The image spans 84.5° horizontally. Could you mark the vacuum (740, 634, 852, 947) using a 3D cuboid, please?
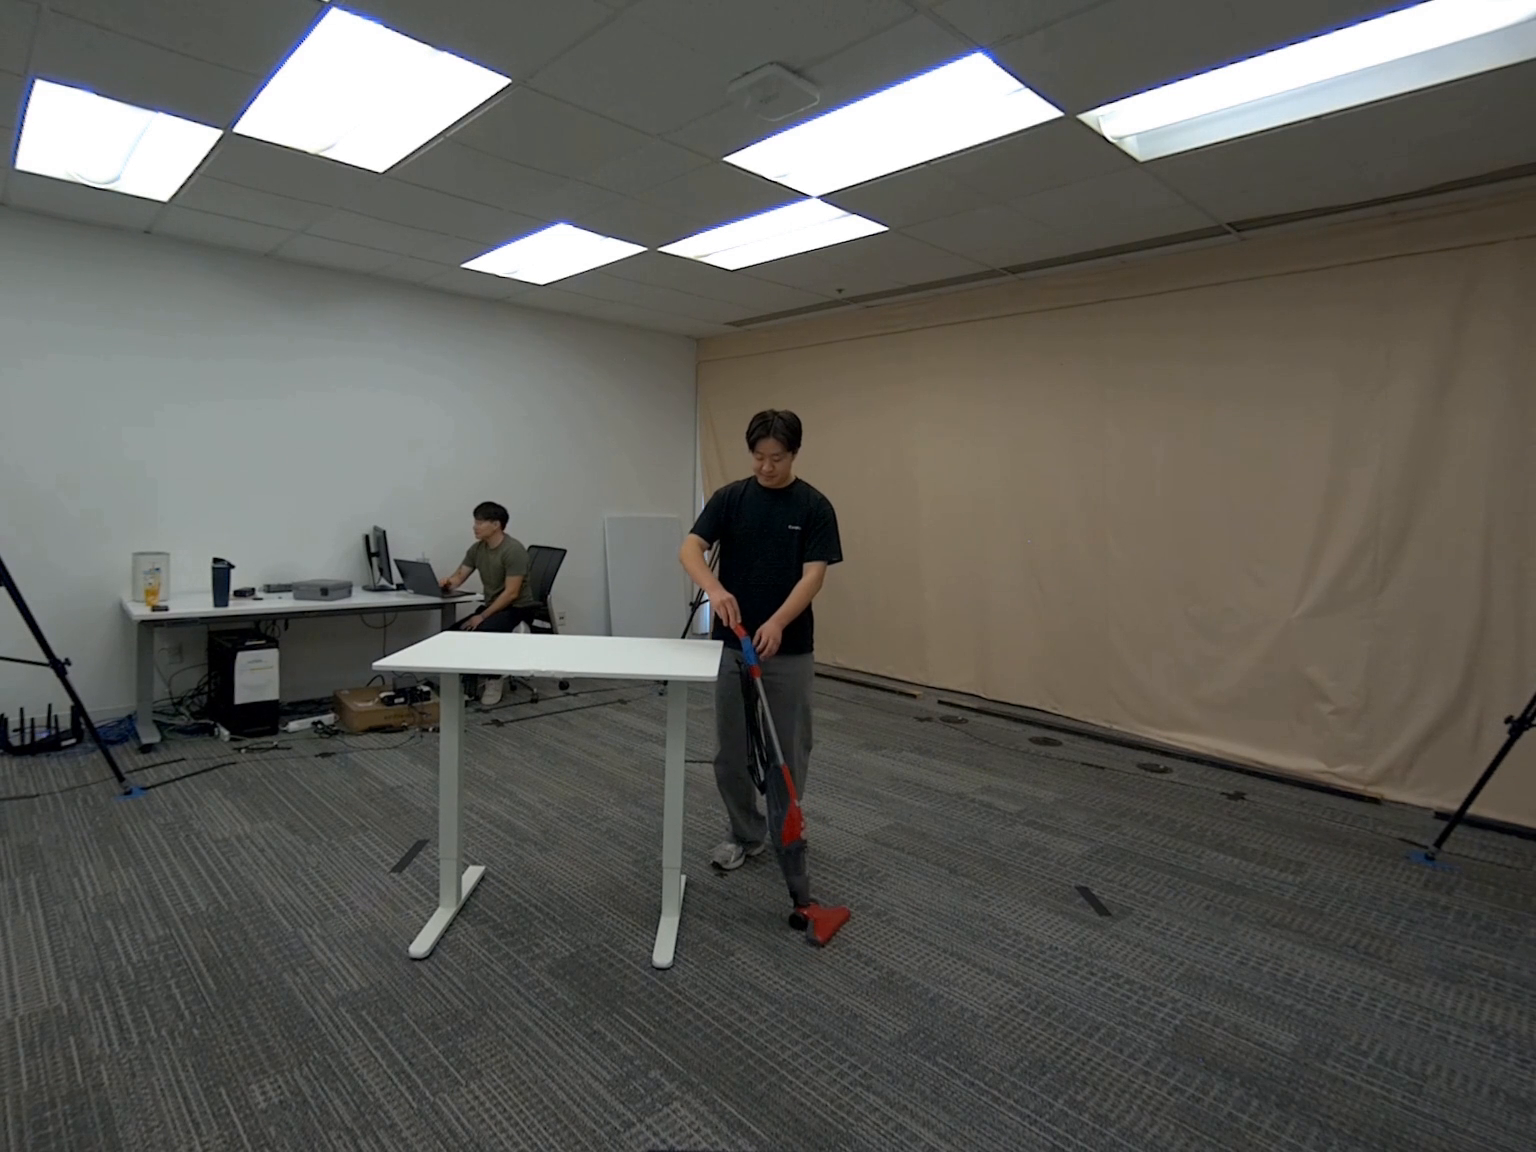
[{"bbox_3d":[0.008,0.637,2.831,0.145,1.059,0.247,-21,-11,26],"label":"vacuum"}]
